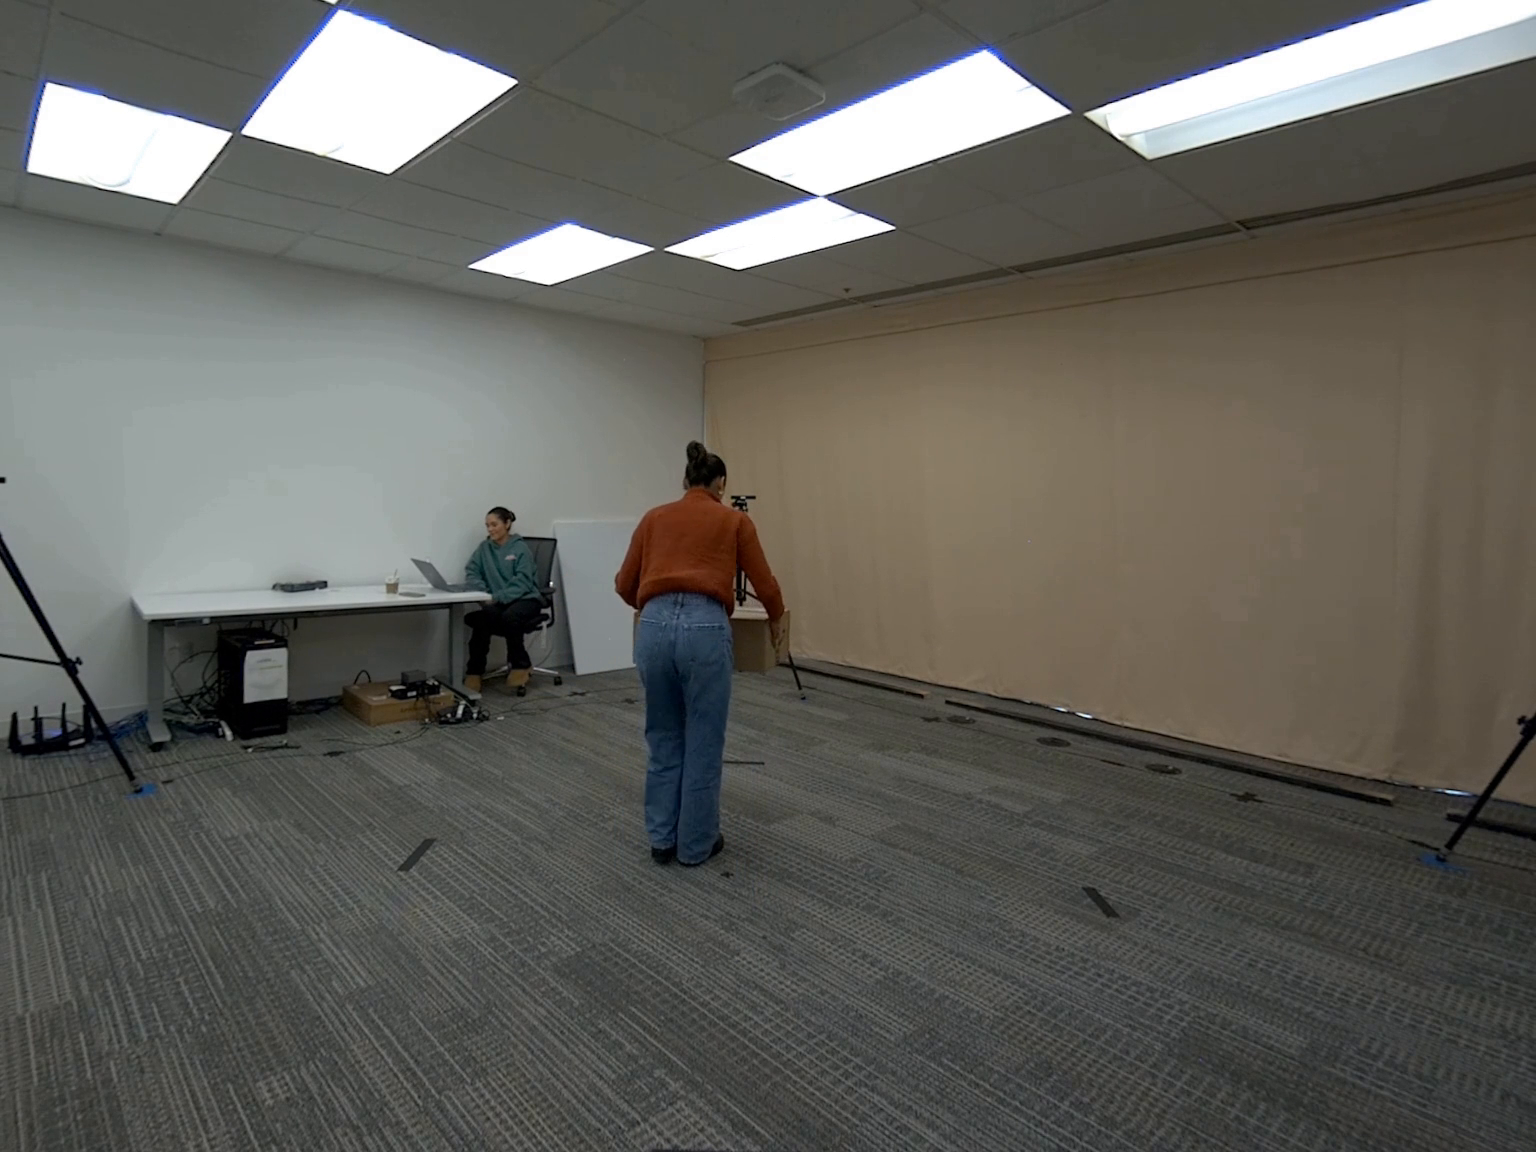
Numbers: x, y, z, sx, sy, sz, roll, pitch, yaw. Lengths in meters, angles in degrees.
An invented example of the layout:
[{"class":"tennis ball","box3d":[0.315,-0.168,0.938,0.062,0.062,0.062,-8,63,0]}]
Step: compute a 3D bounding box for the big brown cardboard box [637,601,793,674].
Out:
[{"class":"big brown cardboard box","box3d":[-0.229,0.265,3.579,0.596,0.232,0.413,2,4,15]}]
